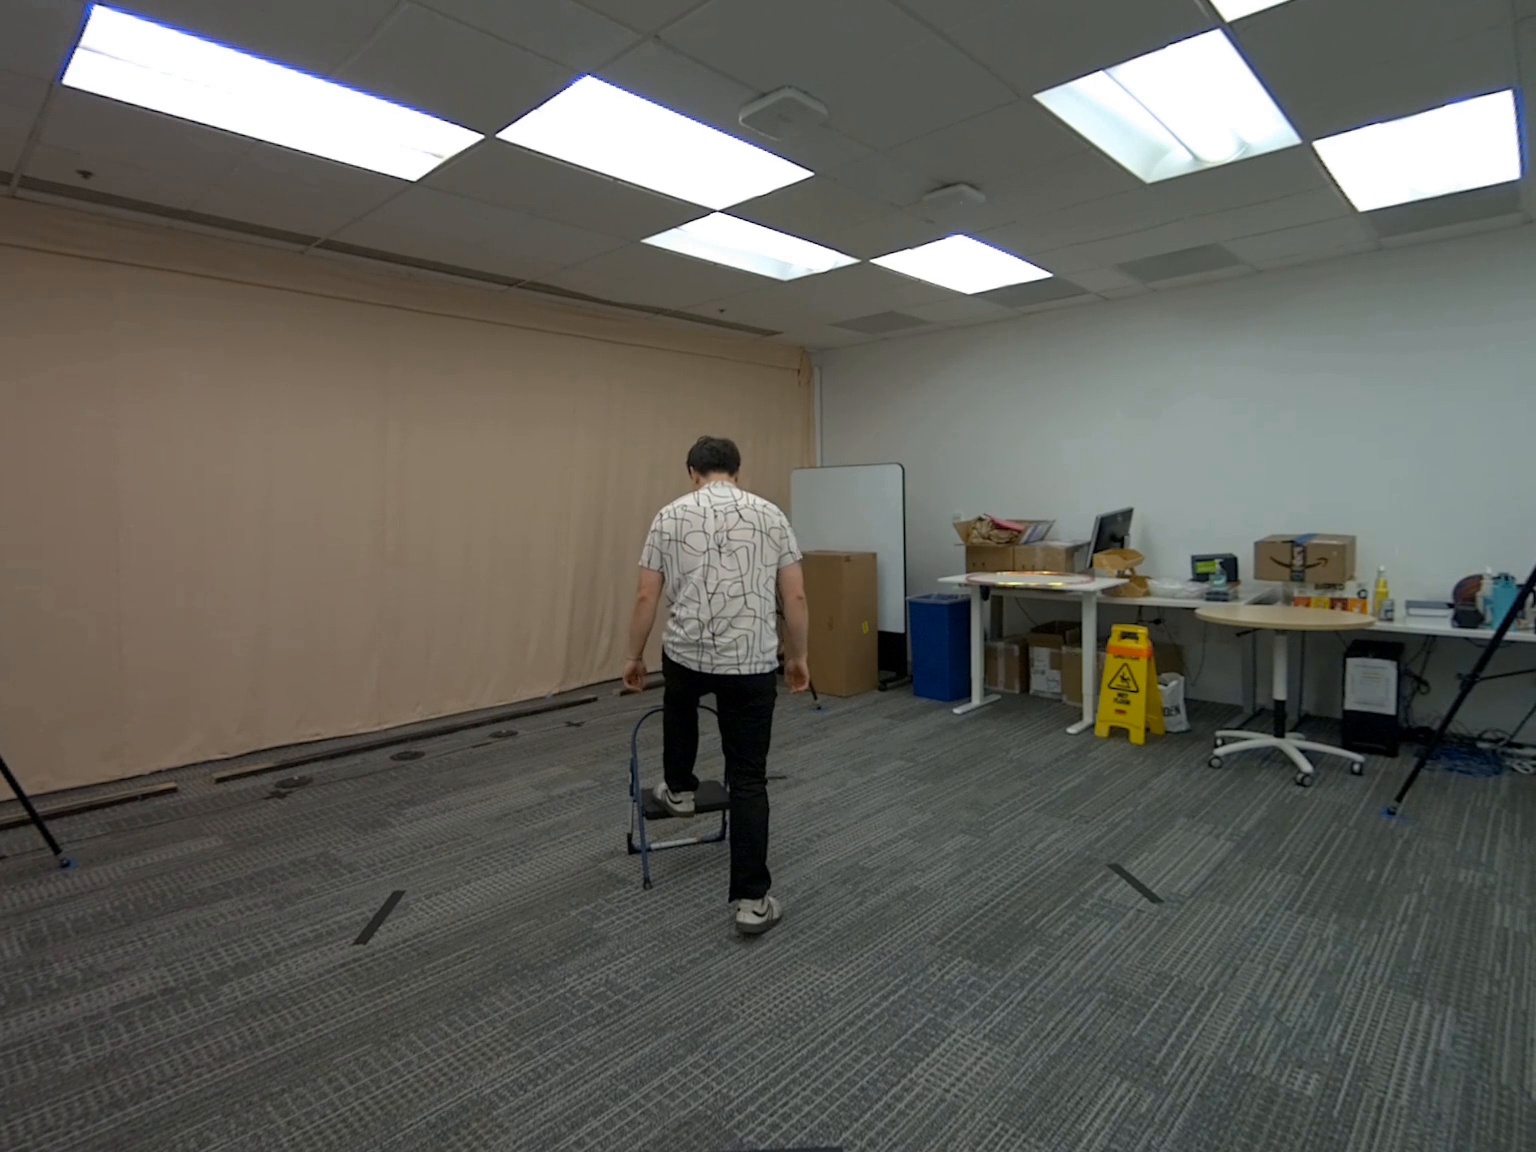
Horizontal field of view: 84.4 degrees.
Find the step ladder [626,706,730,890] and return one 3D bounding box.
[{"bbox_3d":[-0.320,0.817,3.284,0.422,0.605,0.357,-2,3,-20],"label":"step ladder"}]
